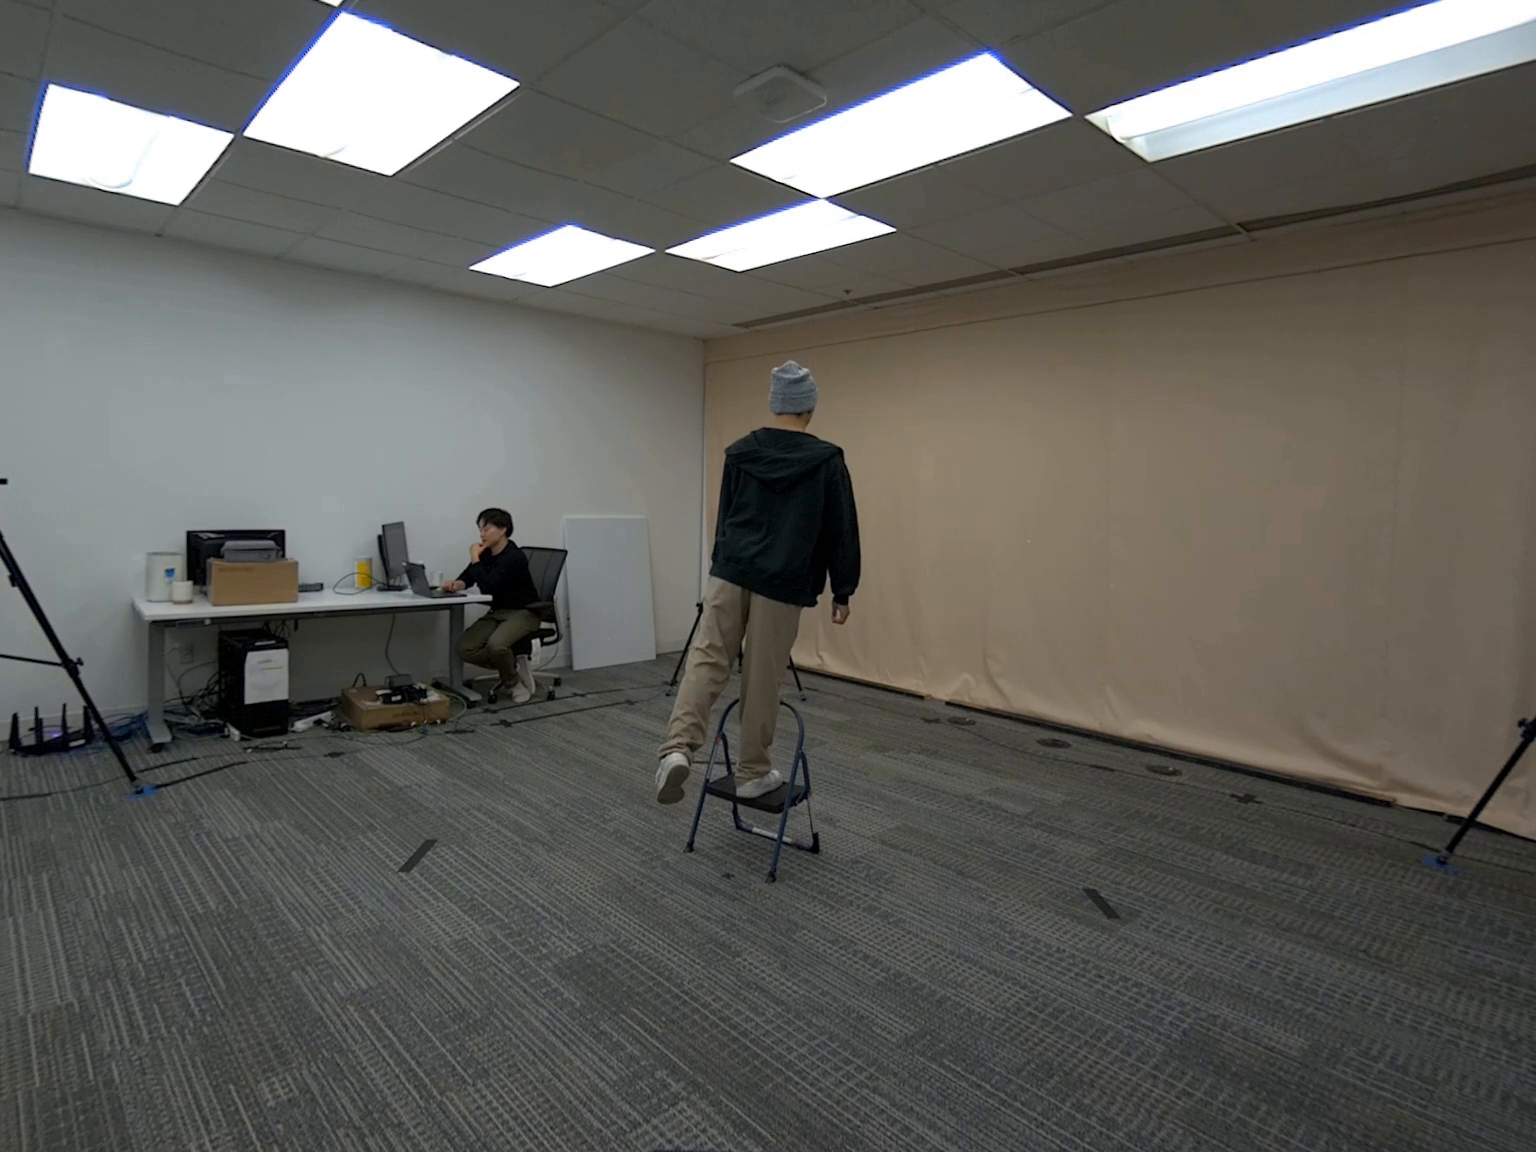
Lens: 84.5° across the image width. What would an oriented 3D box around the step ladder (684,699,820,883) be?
[{"bbox_3d":[-0.056,0.789,3.308,0.441,0.605,0.341,4,4,36],"label":"step ladder"}]
